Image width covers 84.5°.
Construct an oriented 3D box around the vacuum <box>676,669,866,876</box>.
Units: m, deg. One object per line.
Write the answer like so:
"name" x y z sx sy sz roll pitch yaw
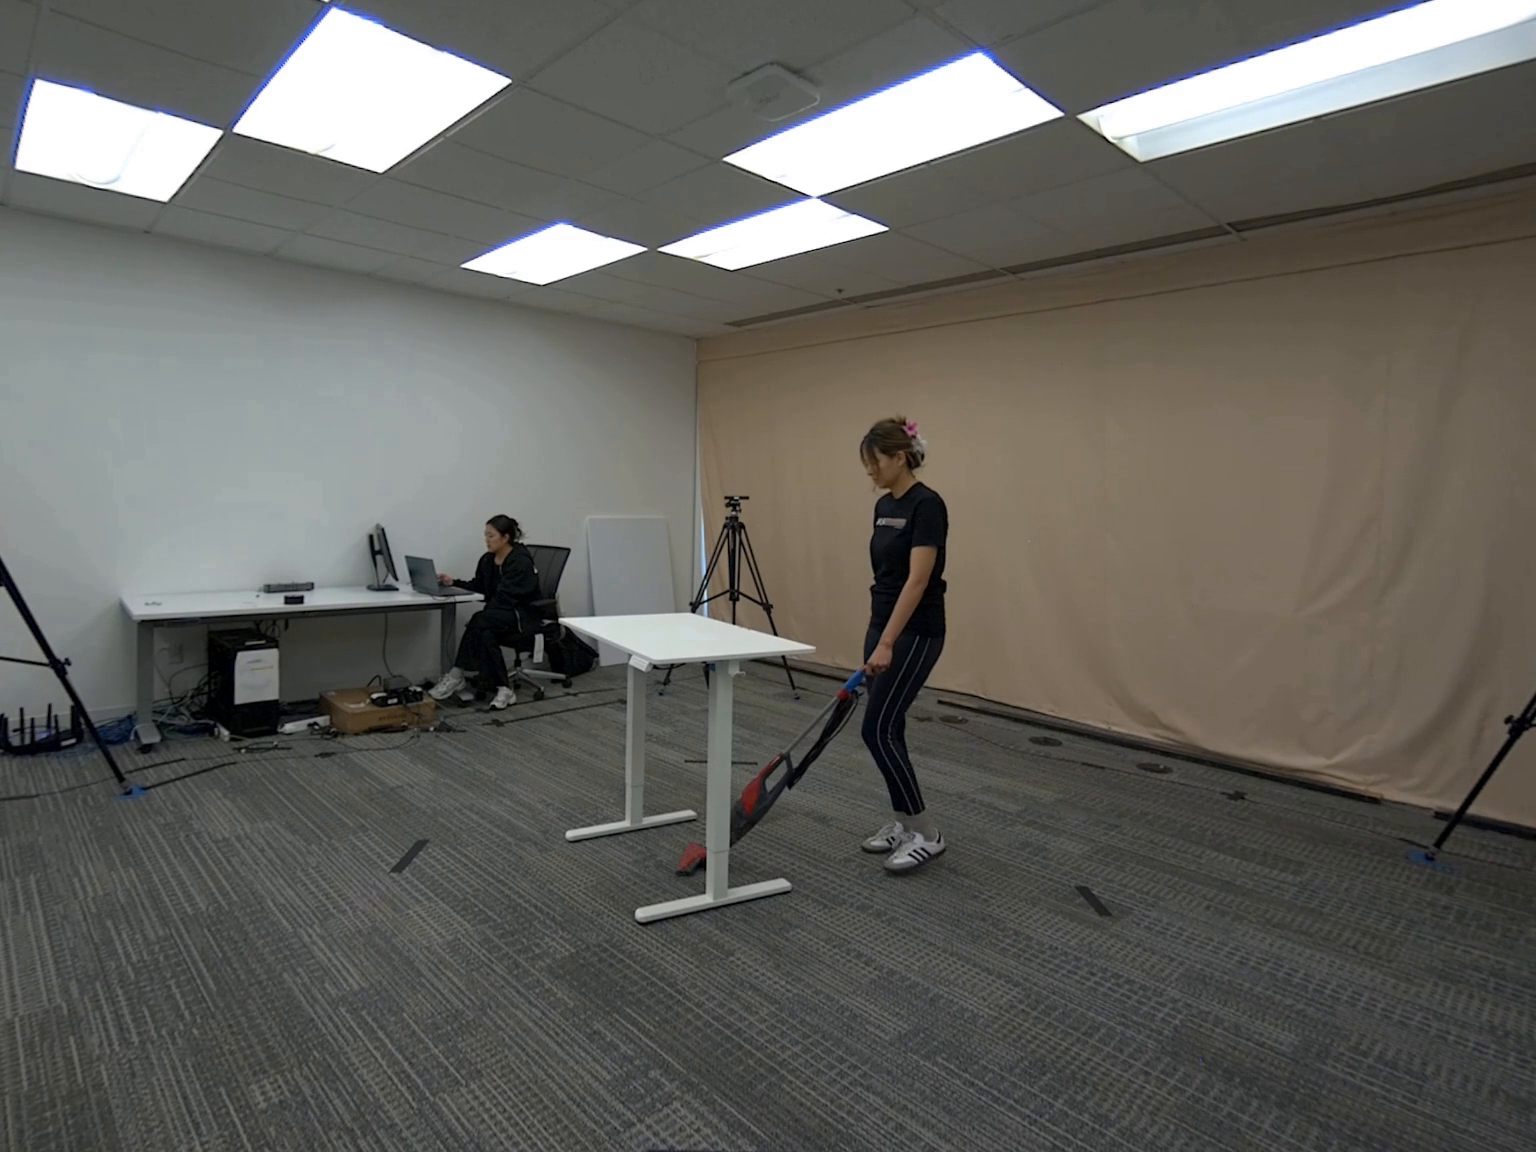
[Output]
"vacuum" 0.087 0.695 3.118 0.145 1.049 0.251 43 8 3
